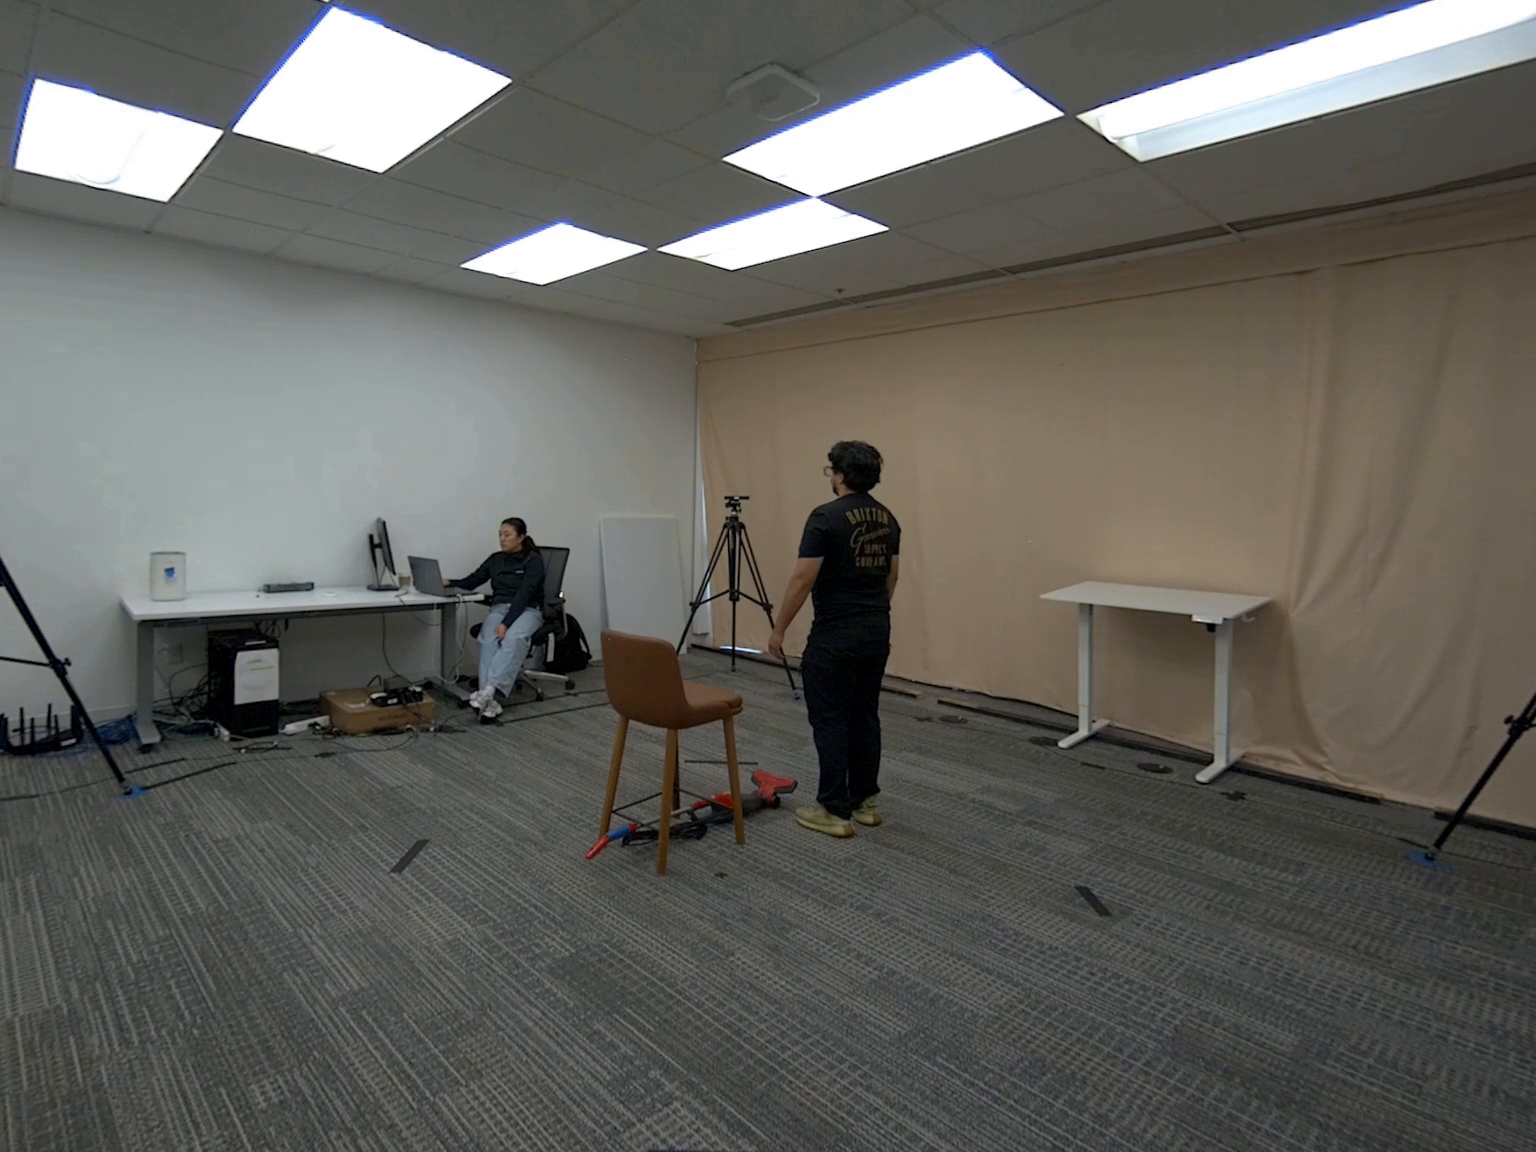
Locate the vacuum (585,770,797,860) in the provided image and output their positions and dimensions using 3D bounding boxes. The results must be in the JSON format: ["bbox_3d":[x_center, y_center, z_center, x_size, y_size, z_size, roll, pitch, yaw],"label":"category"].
[{"bbox_3d":[-0.337,1.012,3.477,0.259,0.143,1.026,4,6,42],"label":"vacuum"}]
